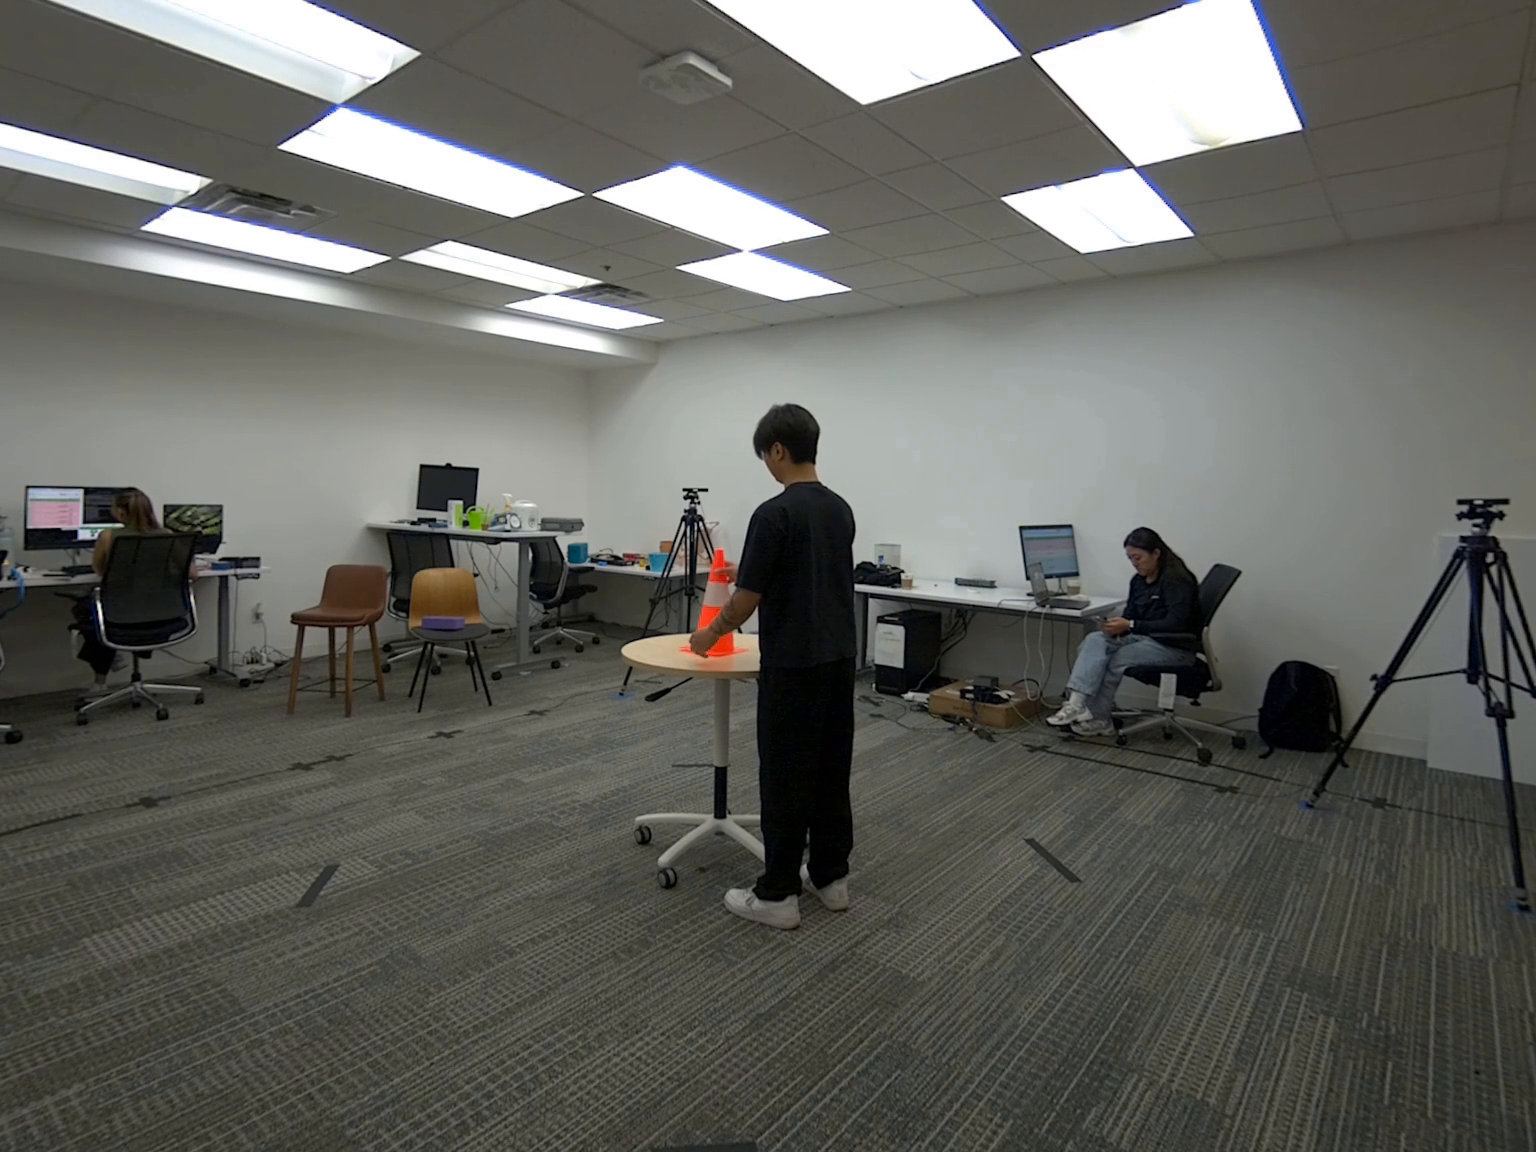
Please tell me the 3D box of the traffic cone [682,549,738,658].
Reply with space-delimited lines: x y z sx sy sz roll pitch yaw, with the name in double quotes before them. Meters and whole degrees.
"traffic cone" -0.203 0.089 3.203 0.212 0.382 0.198 6 5 34
